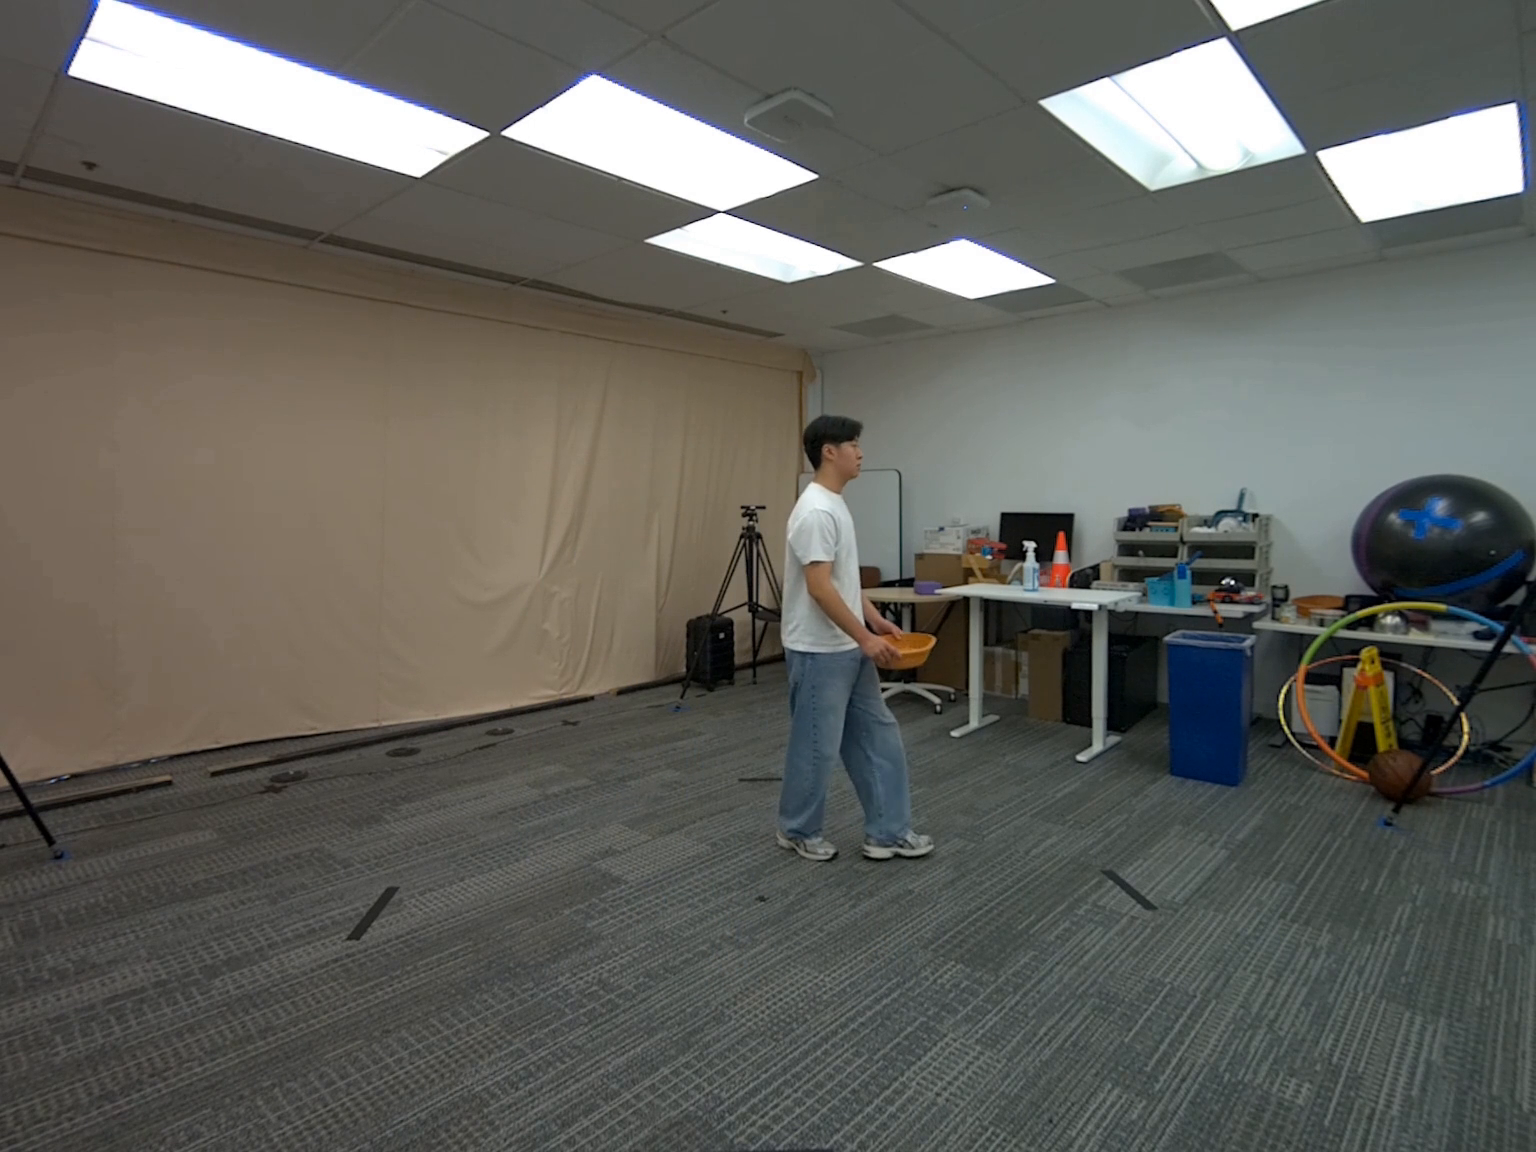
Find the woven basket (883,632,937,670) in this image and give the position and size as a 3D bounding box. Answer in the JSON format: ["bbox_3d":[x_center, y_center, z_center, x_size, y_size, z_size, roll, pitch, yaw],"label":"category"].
[{"bbox_3d":[0.491,0.289,3.226,0.260,0.073,0.341,2,7,36],"label":"woven basket"}]
